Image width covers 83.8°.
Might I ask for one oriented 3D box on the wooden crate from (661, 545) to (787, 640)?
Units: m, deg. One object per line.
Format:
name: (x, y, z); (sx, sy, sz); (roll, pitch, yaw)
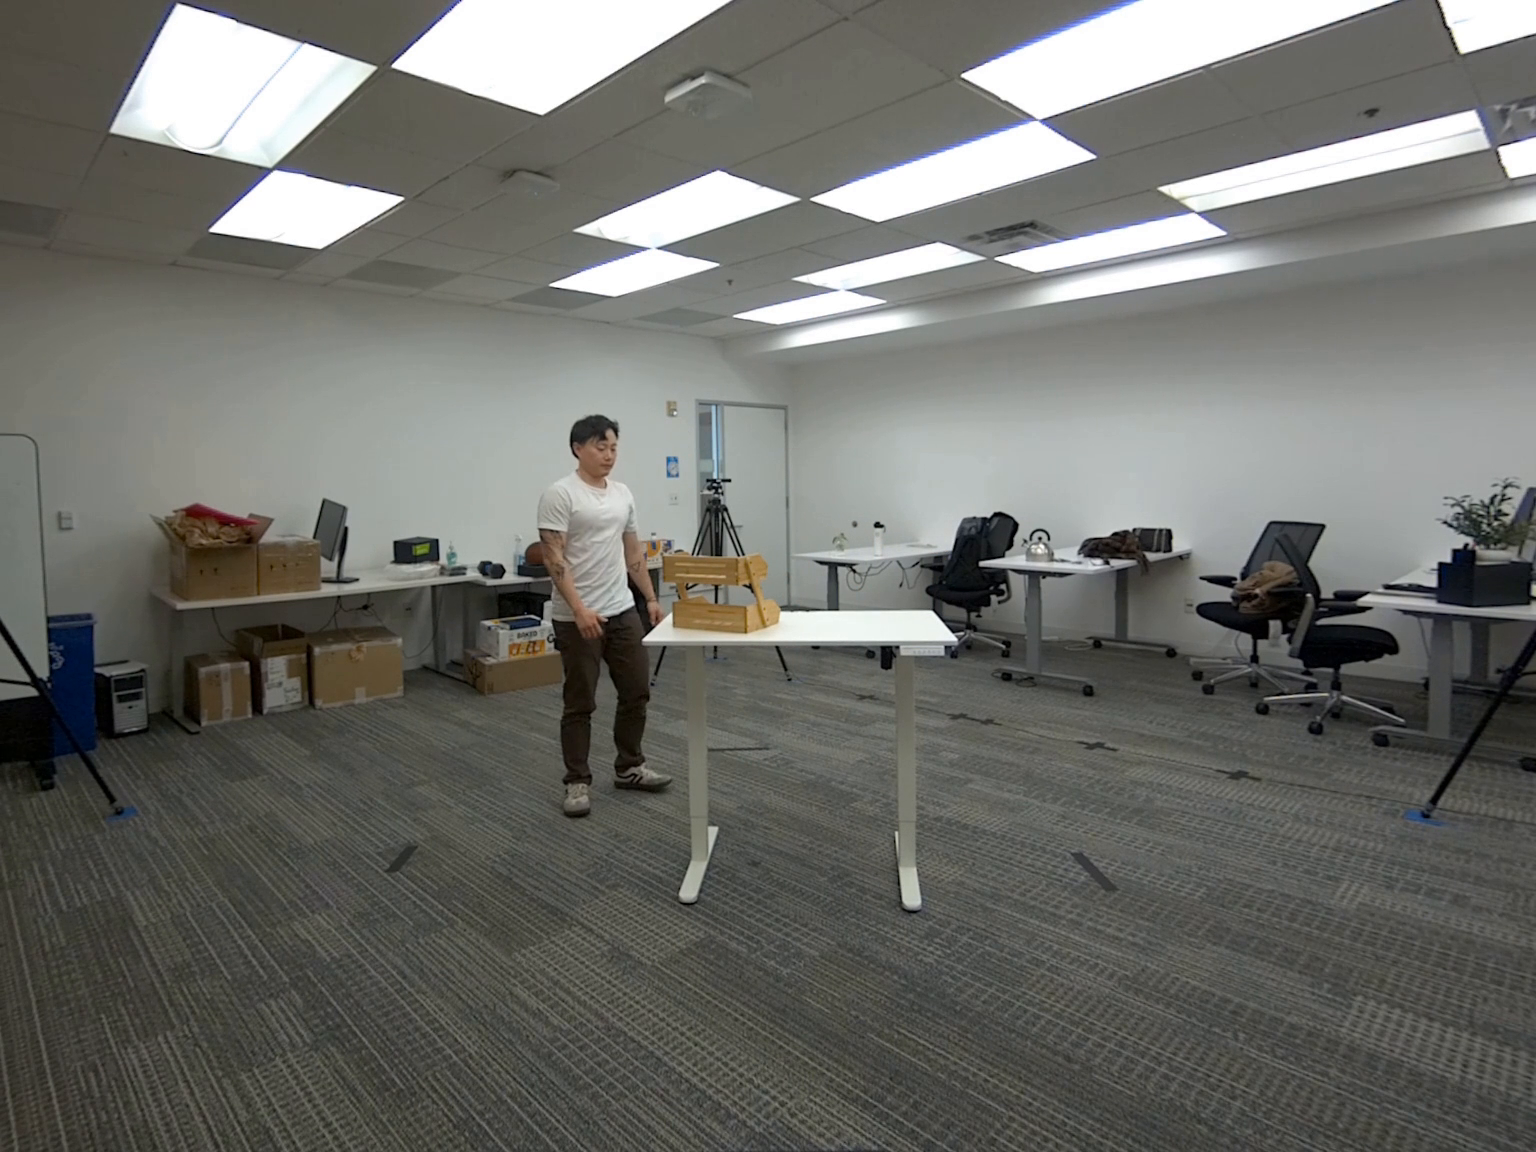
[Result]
wooden crate: (-0.151, 0.044, 3.001); (0.333, 0.272, 0.296); (2, 7, 29)
